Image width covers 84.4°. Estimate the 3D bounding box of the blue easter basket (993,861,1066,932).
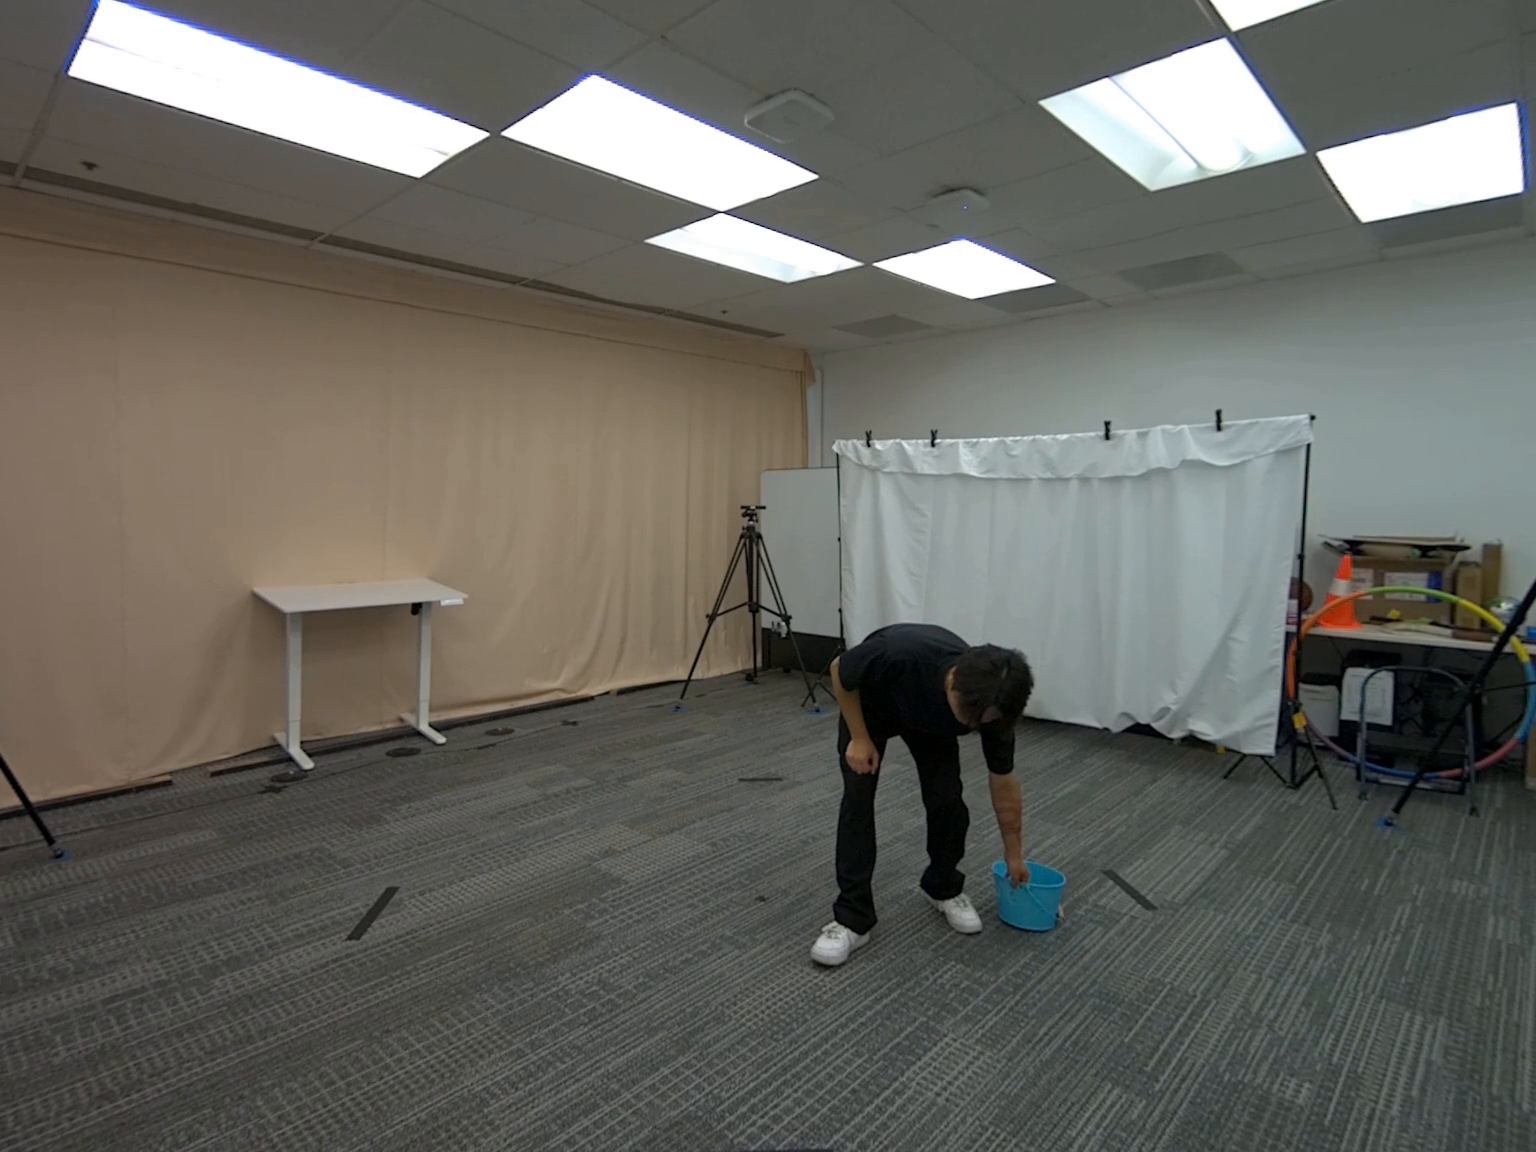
[{"bbox_3d":[0.876,1.078,2.816,0.243,0.156,0.244,2,2,-2],"label":"blue easter basket"}]
